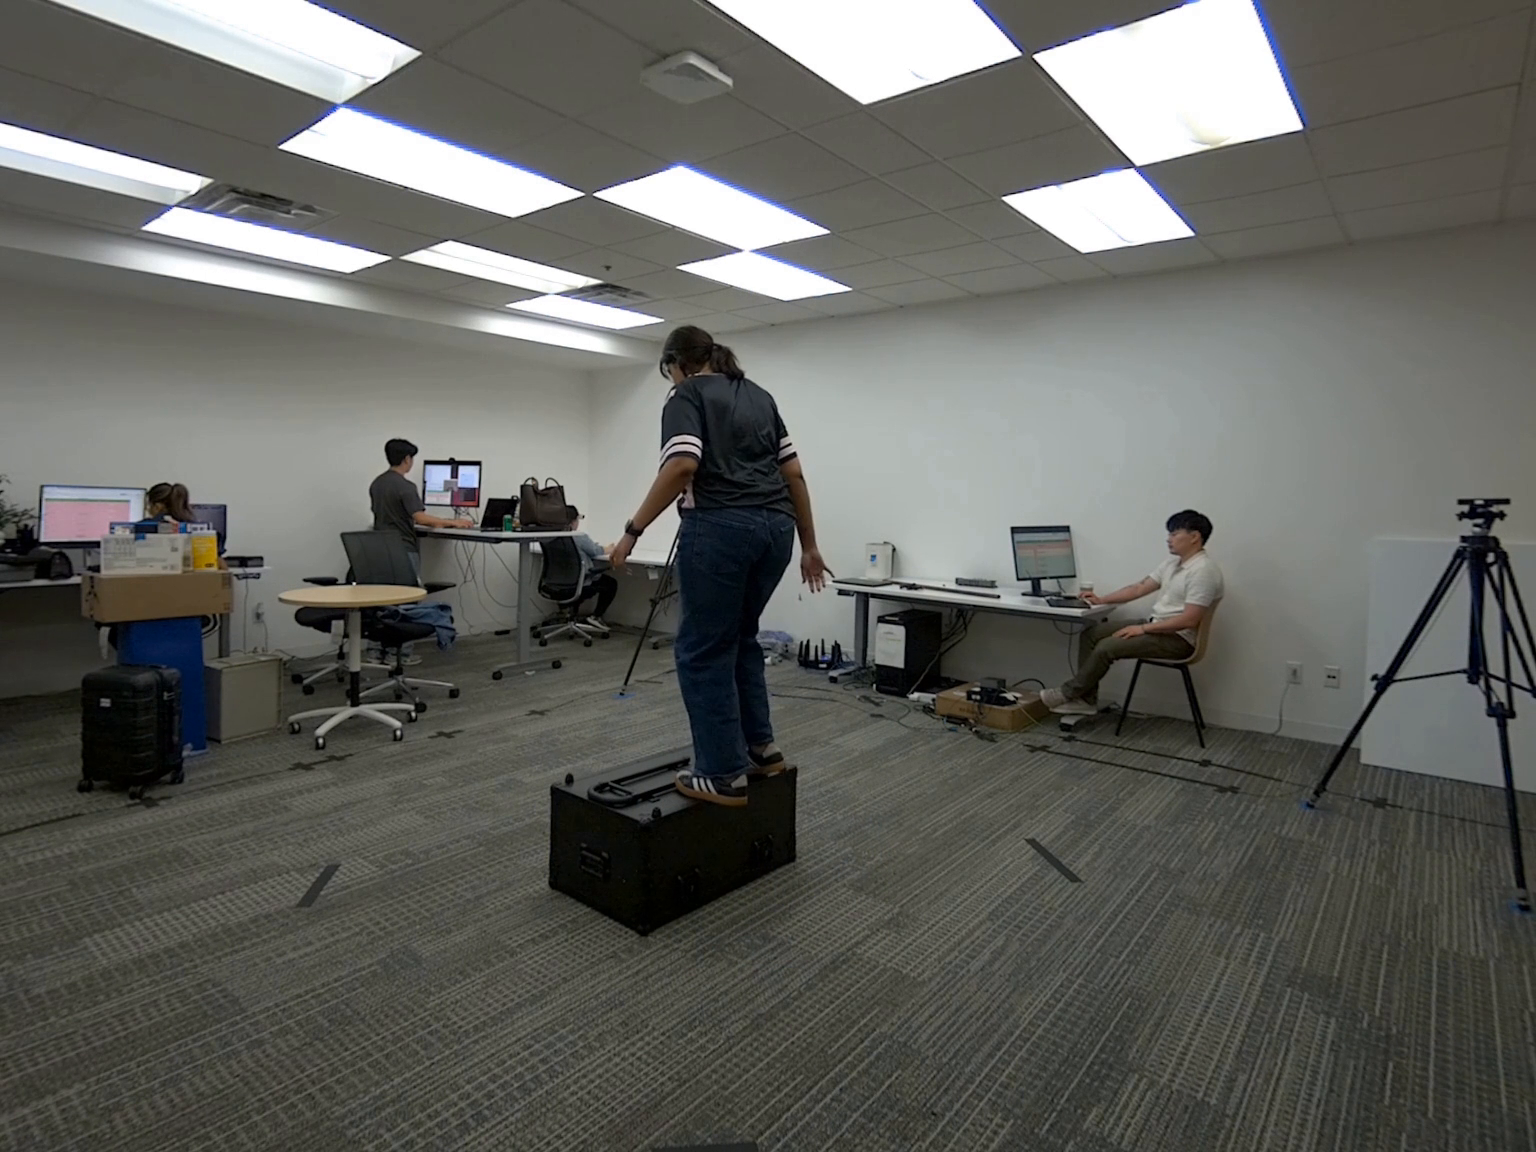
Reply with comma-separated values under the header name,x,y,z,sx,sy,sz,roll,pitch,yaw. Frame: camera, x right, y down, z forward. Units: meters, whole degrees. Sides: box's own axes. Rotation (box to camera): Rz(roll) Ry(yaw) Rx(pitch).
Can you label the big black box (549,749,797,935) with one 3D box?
name,x,y,z,sx,sy,sz,roll,pitch,yaw
big black box,-0.317,0.885,3.092,0.541,0.384,0.843,4,6,40
